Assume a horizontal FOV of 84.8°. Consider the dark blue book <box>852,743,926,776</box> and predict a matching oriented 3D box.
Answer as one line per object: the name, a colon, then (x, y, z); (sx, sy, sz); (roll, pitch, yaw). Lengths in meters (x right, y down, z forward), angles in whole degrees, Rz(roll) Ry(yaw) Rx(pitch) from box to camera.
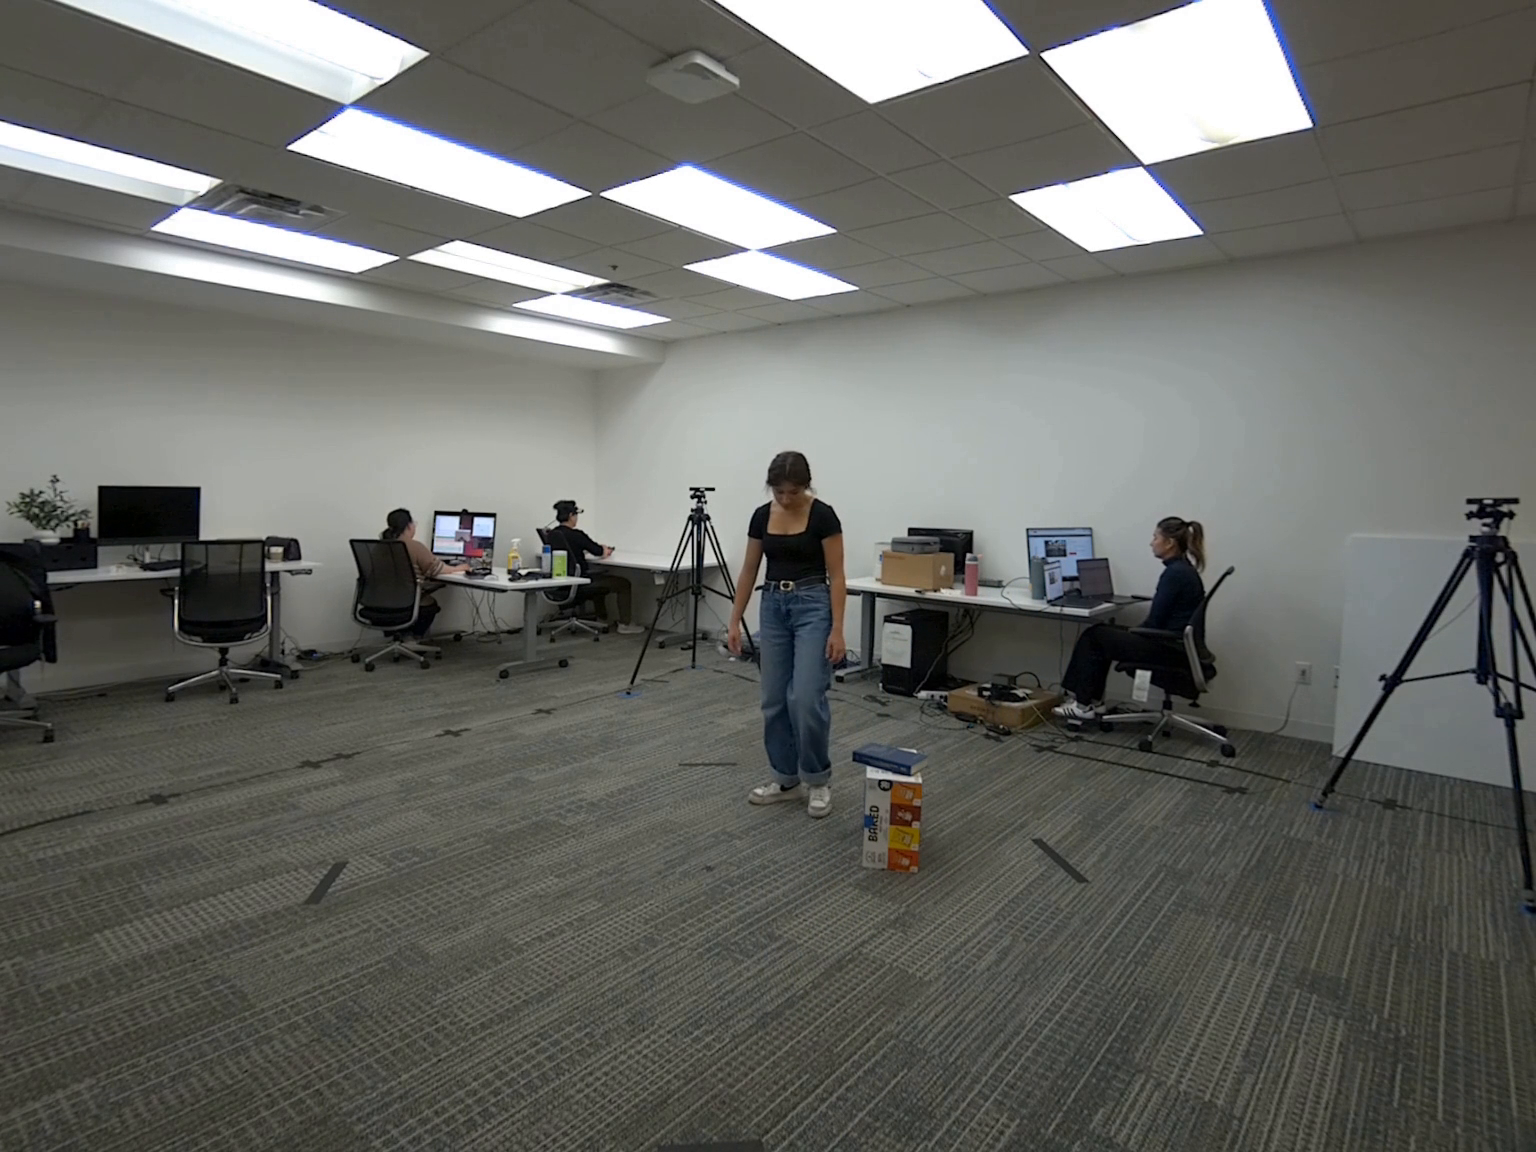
dark blue book: (0.465, 0.700, 3.288); (0.253, 0.045, 0.159); (6, 6, 34)
